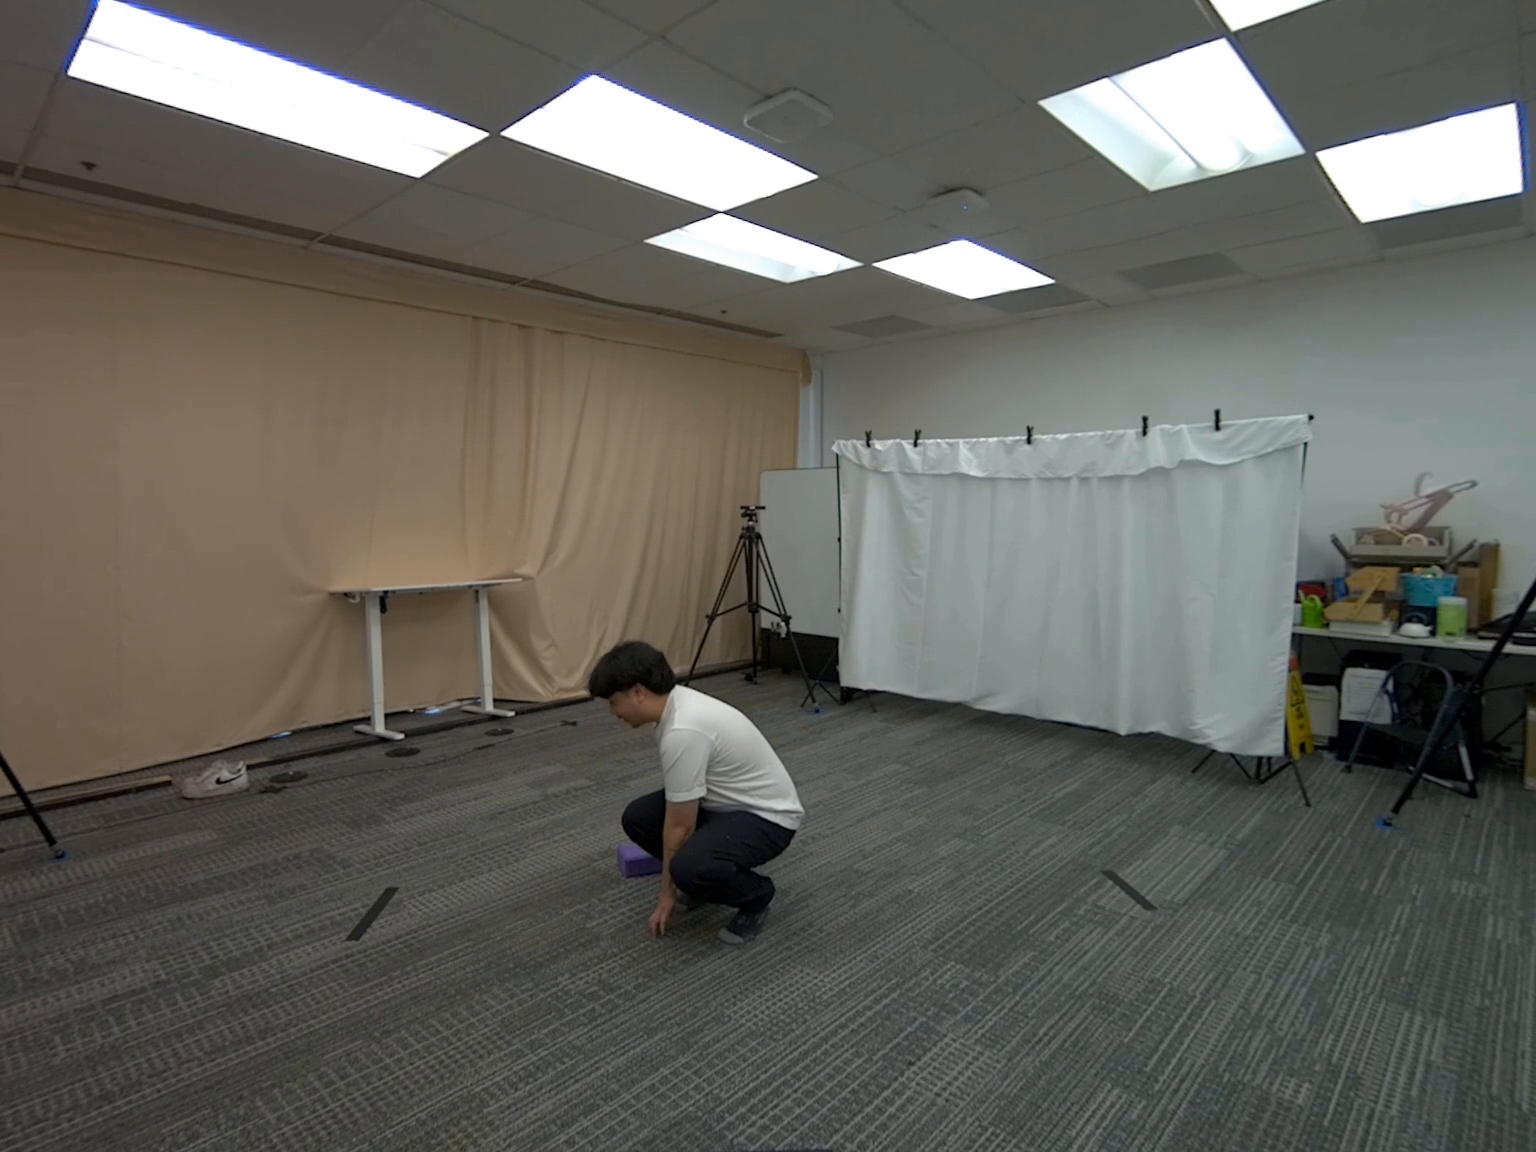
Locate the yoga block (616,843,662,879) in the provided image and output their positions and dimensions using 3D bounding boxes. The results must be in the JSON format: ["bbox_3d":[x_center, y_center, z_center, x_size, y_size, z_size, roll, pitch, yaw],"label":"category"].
[{"bbox_3d":[-0.456,1.083,3.253,0.225,0.076,0.152,-1,5,-21],"label":"yoga block"}]
